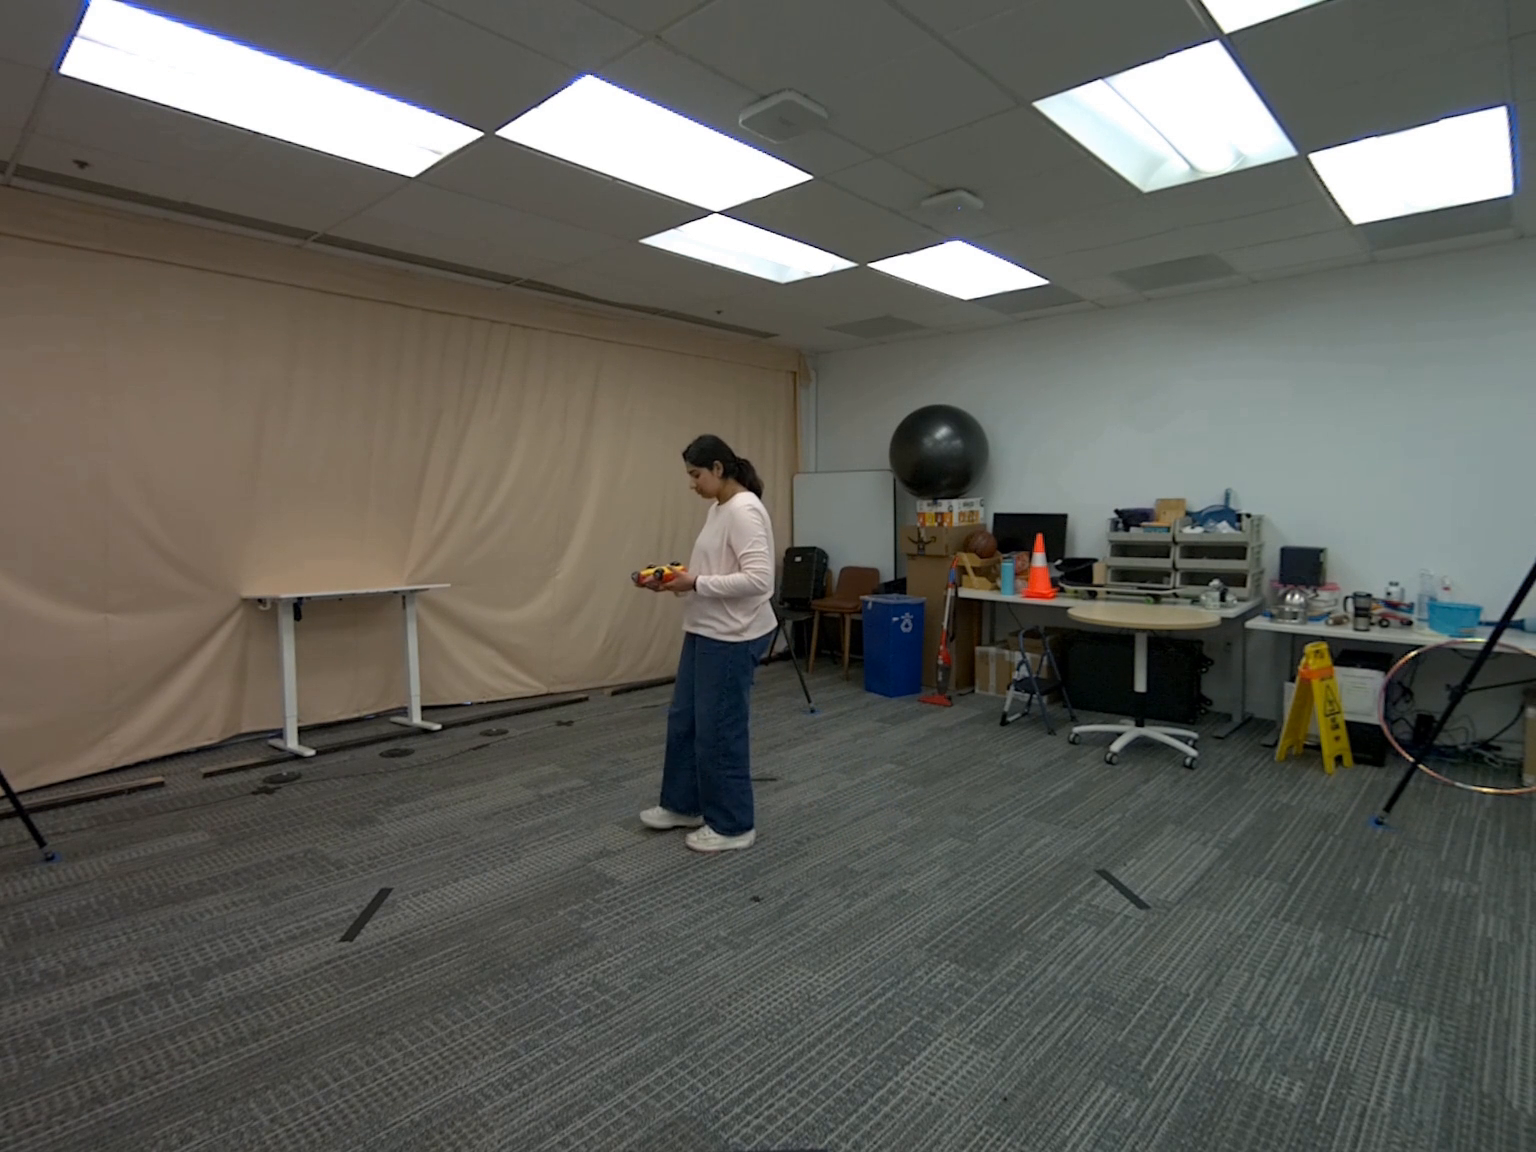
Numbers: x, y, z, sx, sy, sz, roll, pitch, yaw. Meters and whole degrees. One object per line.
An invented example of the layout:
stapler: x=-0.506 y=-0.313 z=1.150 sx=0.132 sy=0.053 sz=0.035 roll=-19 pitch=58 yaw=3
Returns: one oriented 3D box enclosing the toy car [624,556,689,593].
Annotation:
toy car: x=-0.437 y=-0.009 z=3.376 sx=0.263 sy=0.082 sz=0.127 roll=7 pitch=22 yaw=42
